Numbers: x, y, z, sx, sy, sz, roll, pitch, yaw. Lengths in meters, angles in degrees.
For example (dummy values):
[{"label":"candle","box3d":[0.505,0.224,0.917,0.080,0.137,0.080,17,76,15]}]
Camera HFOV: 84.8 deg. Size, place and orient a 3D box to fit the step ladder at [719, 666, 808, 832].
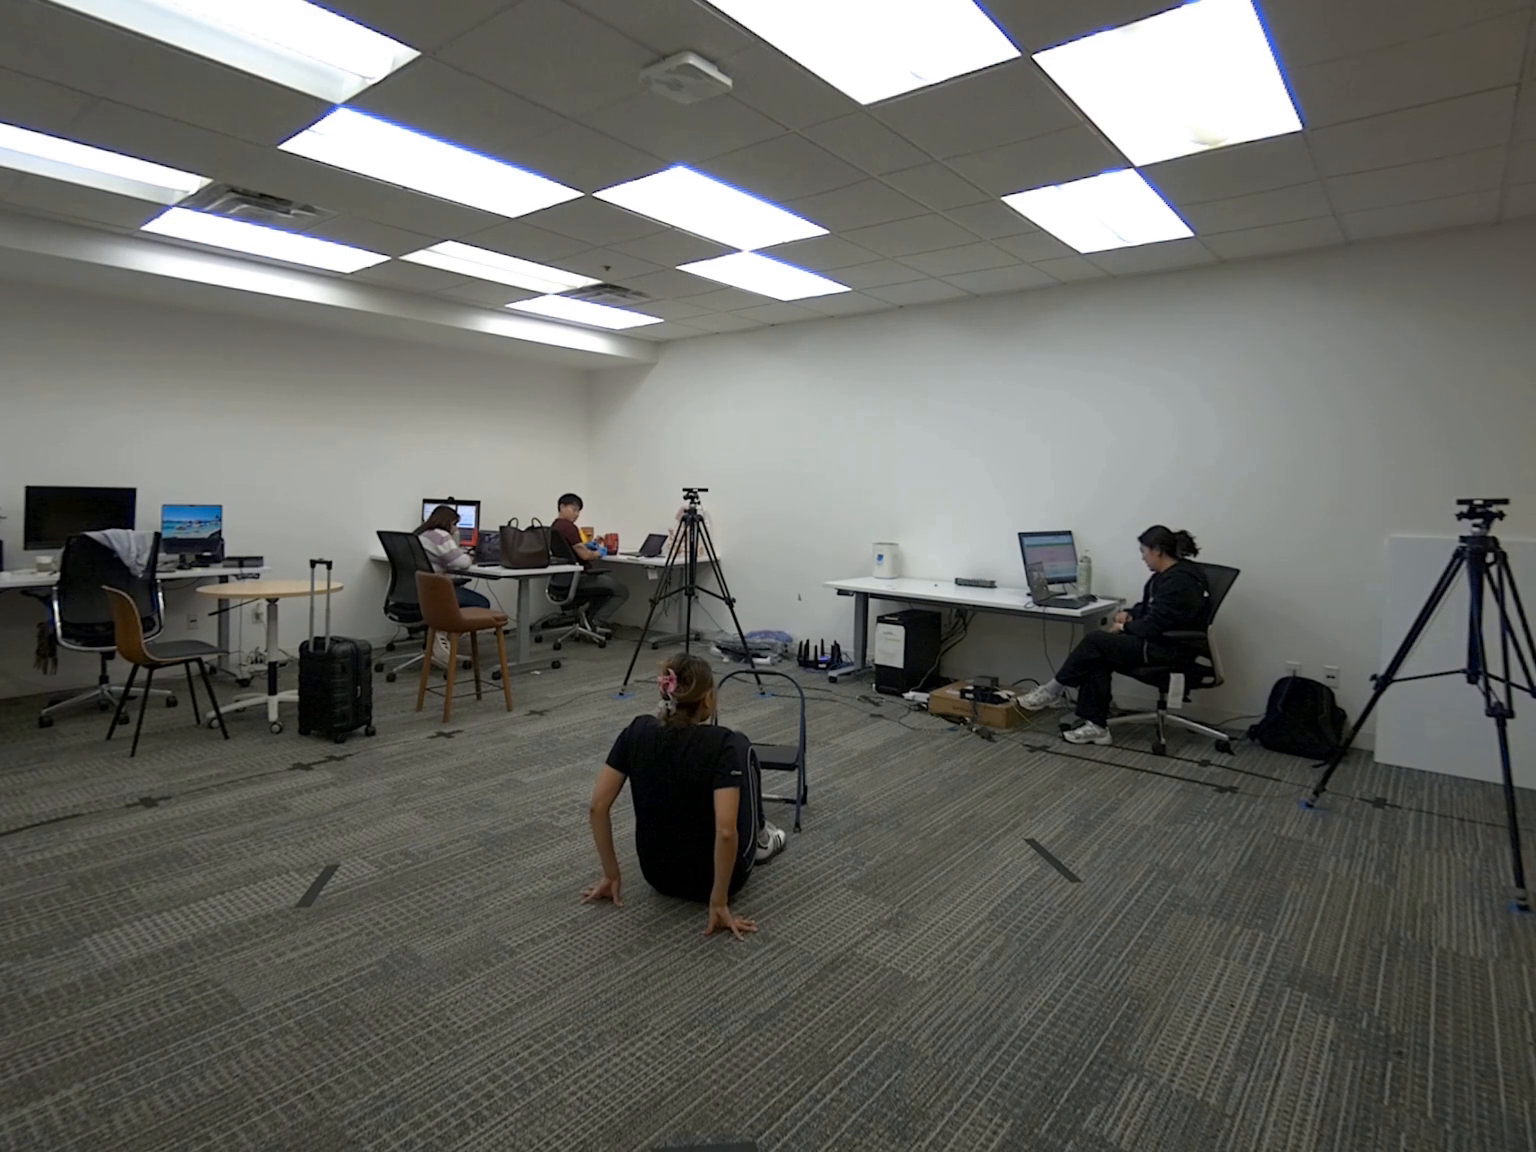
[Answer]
[{"label":"step ladder","box3d":[-0.049,0.716,3.664,0.436,0.604,0.346,2,3,10]}]
